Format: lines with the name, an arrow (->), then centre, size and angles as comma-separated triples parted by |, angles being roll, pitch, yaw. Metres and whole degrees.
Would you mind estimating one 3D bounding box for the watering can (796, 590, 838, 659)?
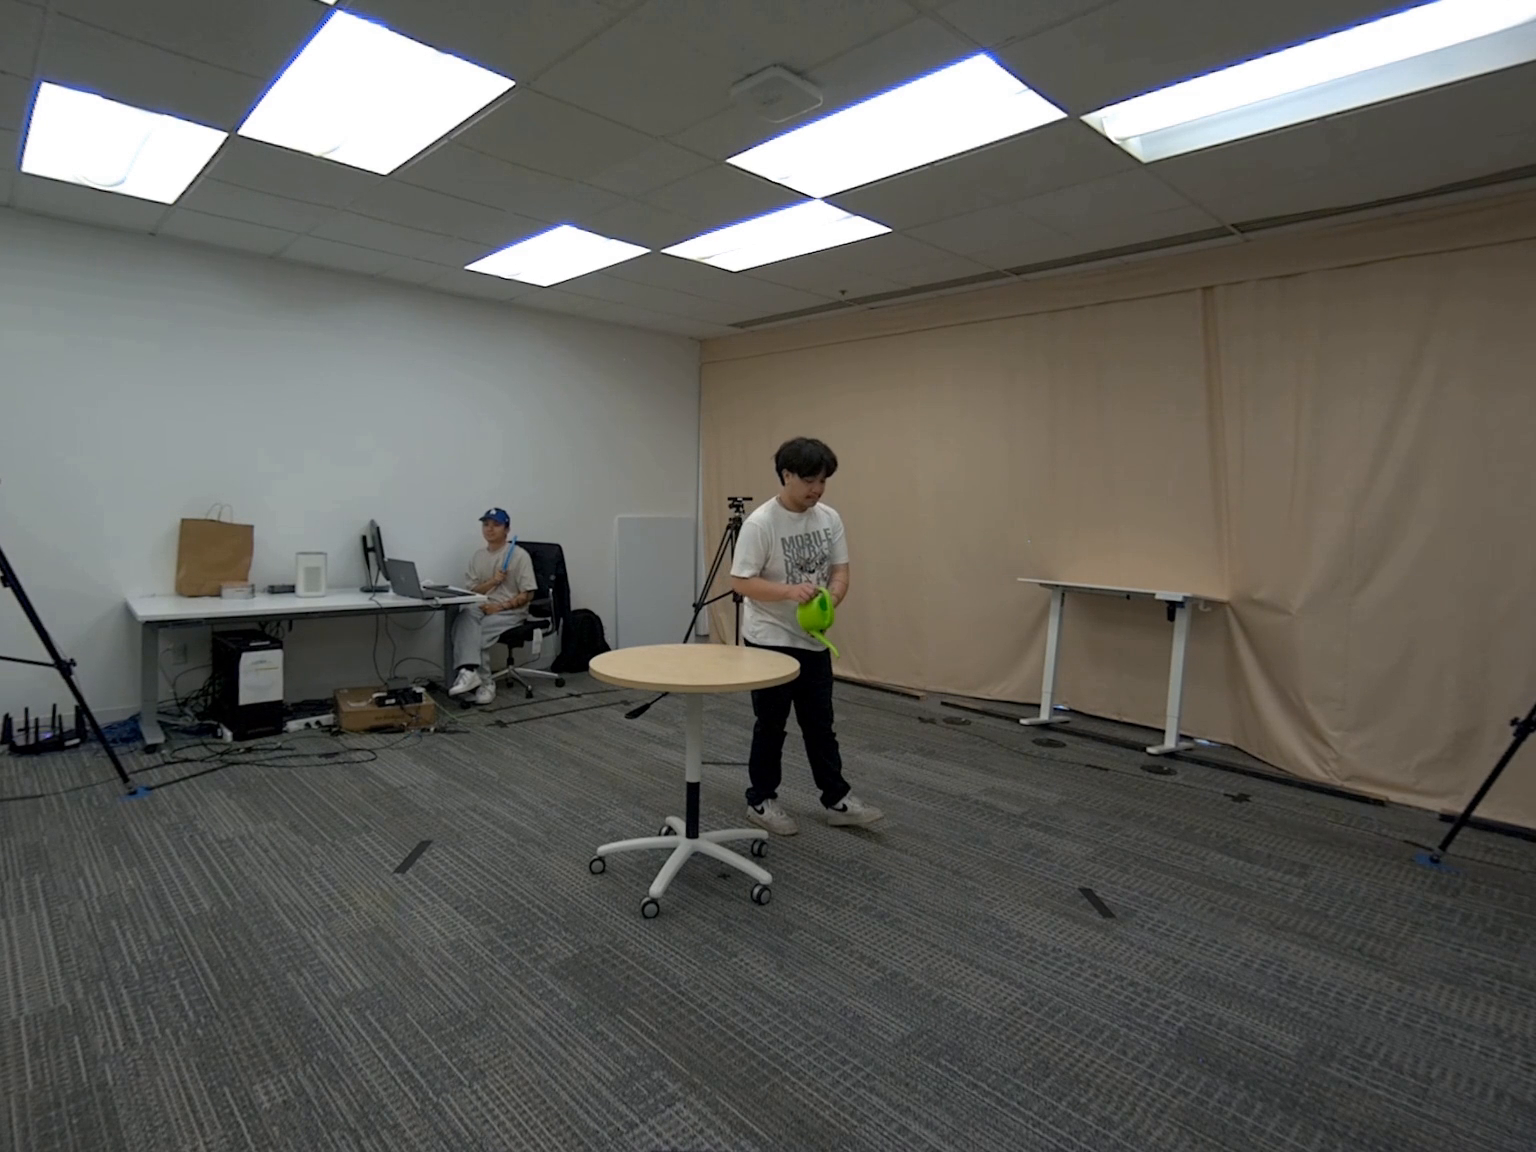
watering can -> 0.183, 0.185, 3.238 | 0.096, 0.281, 0.179 | 10, -16, -27
